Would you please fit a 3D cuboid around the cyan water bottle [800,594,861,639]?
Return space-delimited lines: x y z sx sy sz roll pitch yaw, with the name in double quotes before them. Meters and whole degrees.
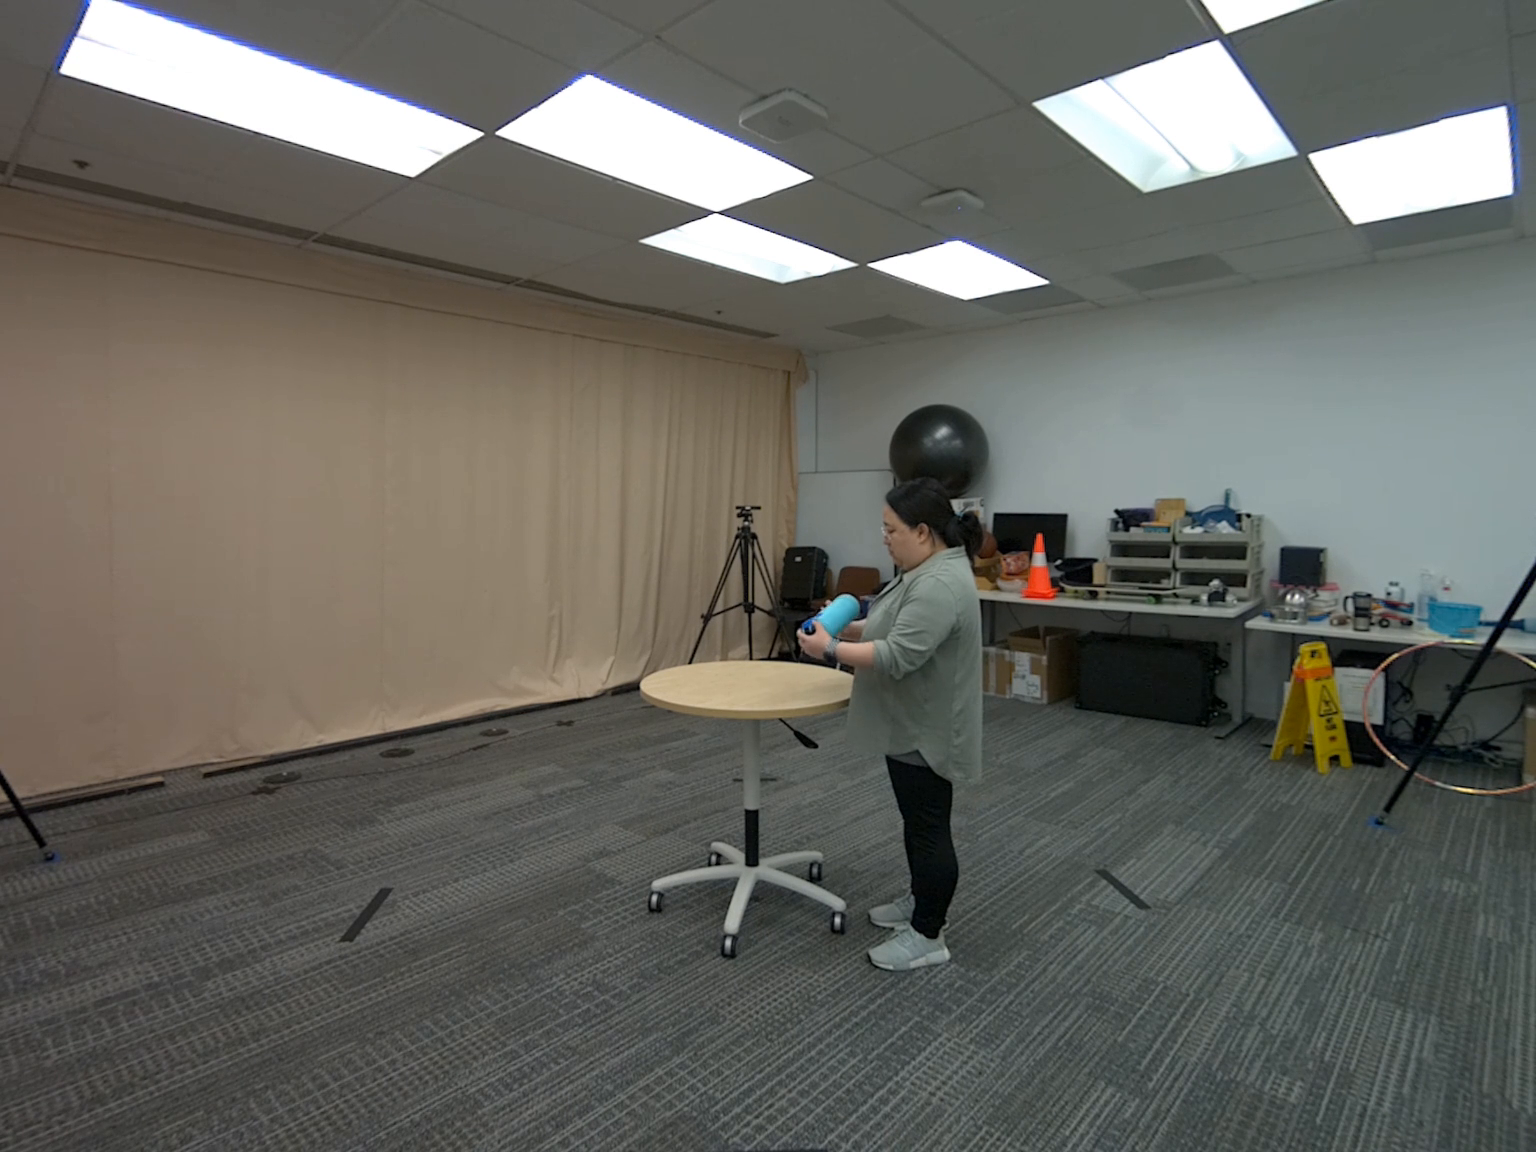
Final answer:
"cyan water bottle" 0.208 0.151 2.634 0.095 0.091 0.278 2 21 34
